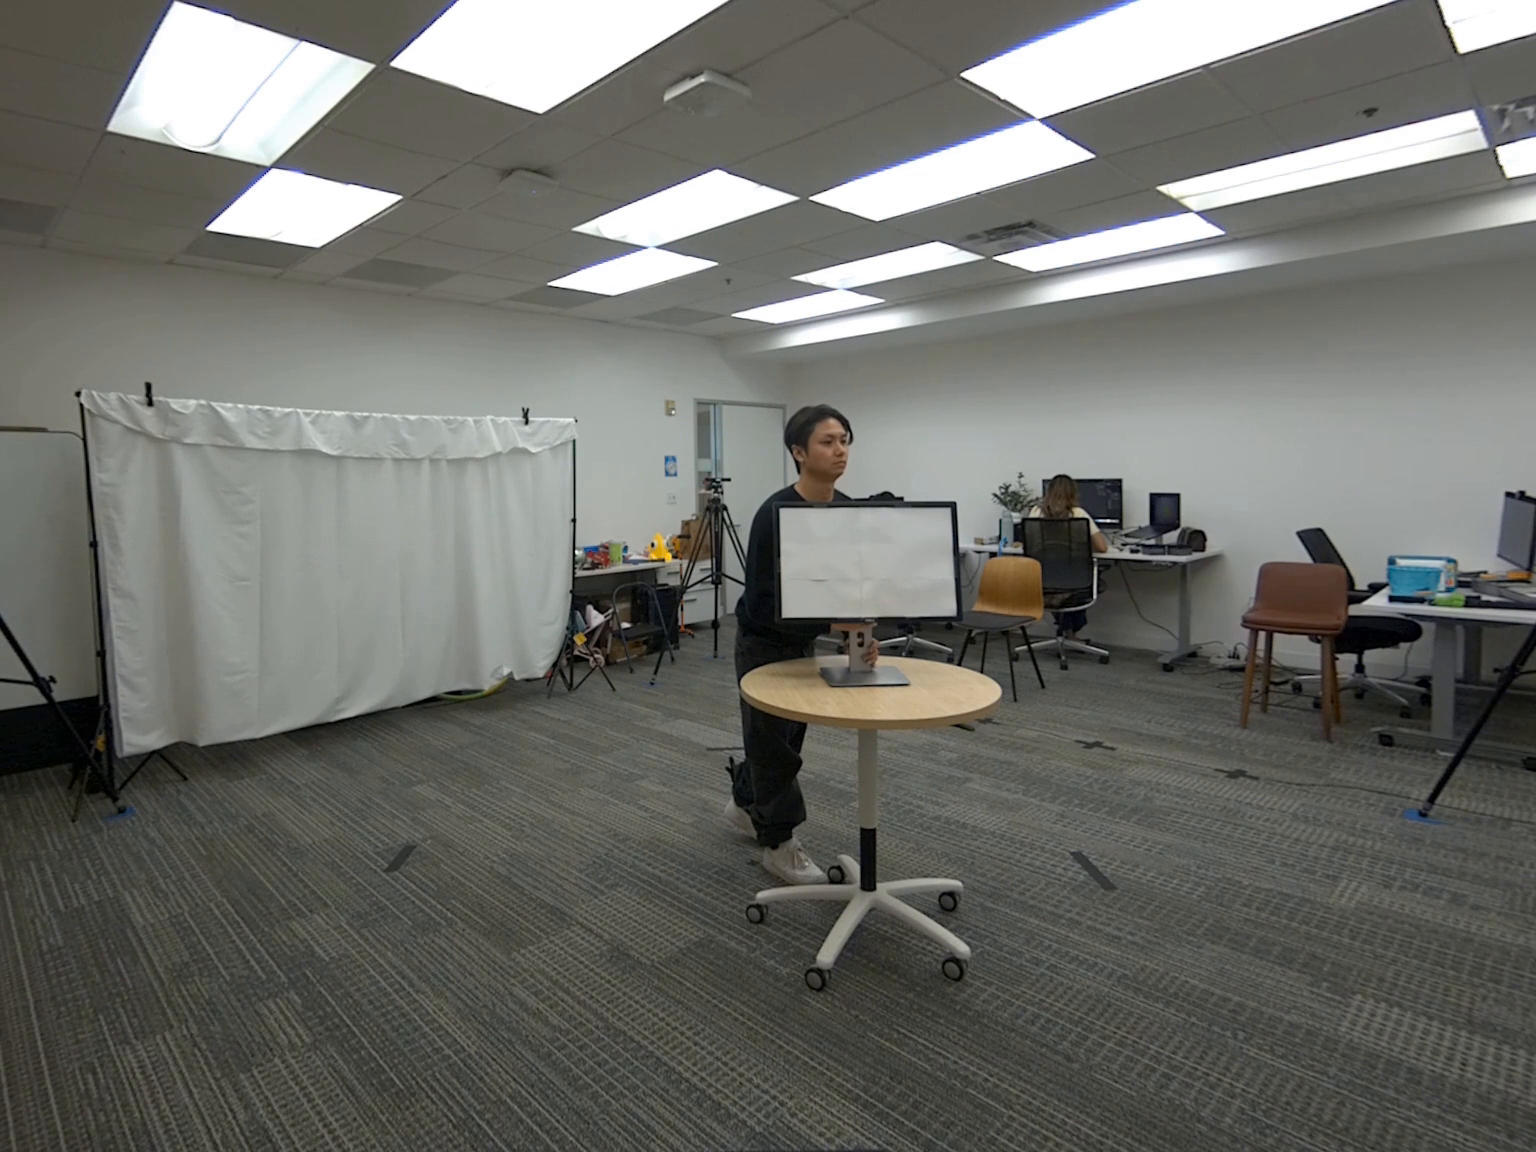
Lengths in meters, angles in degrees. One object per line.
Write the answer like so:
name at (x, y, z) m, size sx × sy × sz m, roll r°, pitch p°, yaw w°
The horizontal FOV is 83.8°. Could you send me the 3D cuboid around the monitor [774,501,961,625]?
monitor at (0.293, 0.052, 2.594) m, size 0.528 × 0.512 × 0.177 m, roll 0°, pitch 8°, yaw -4°
